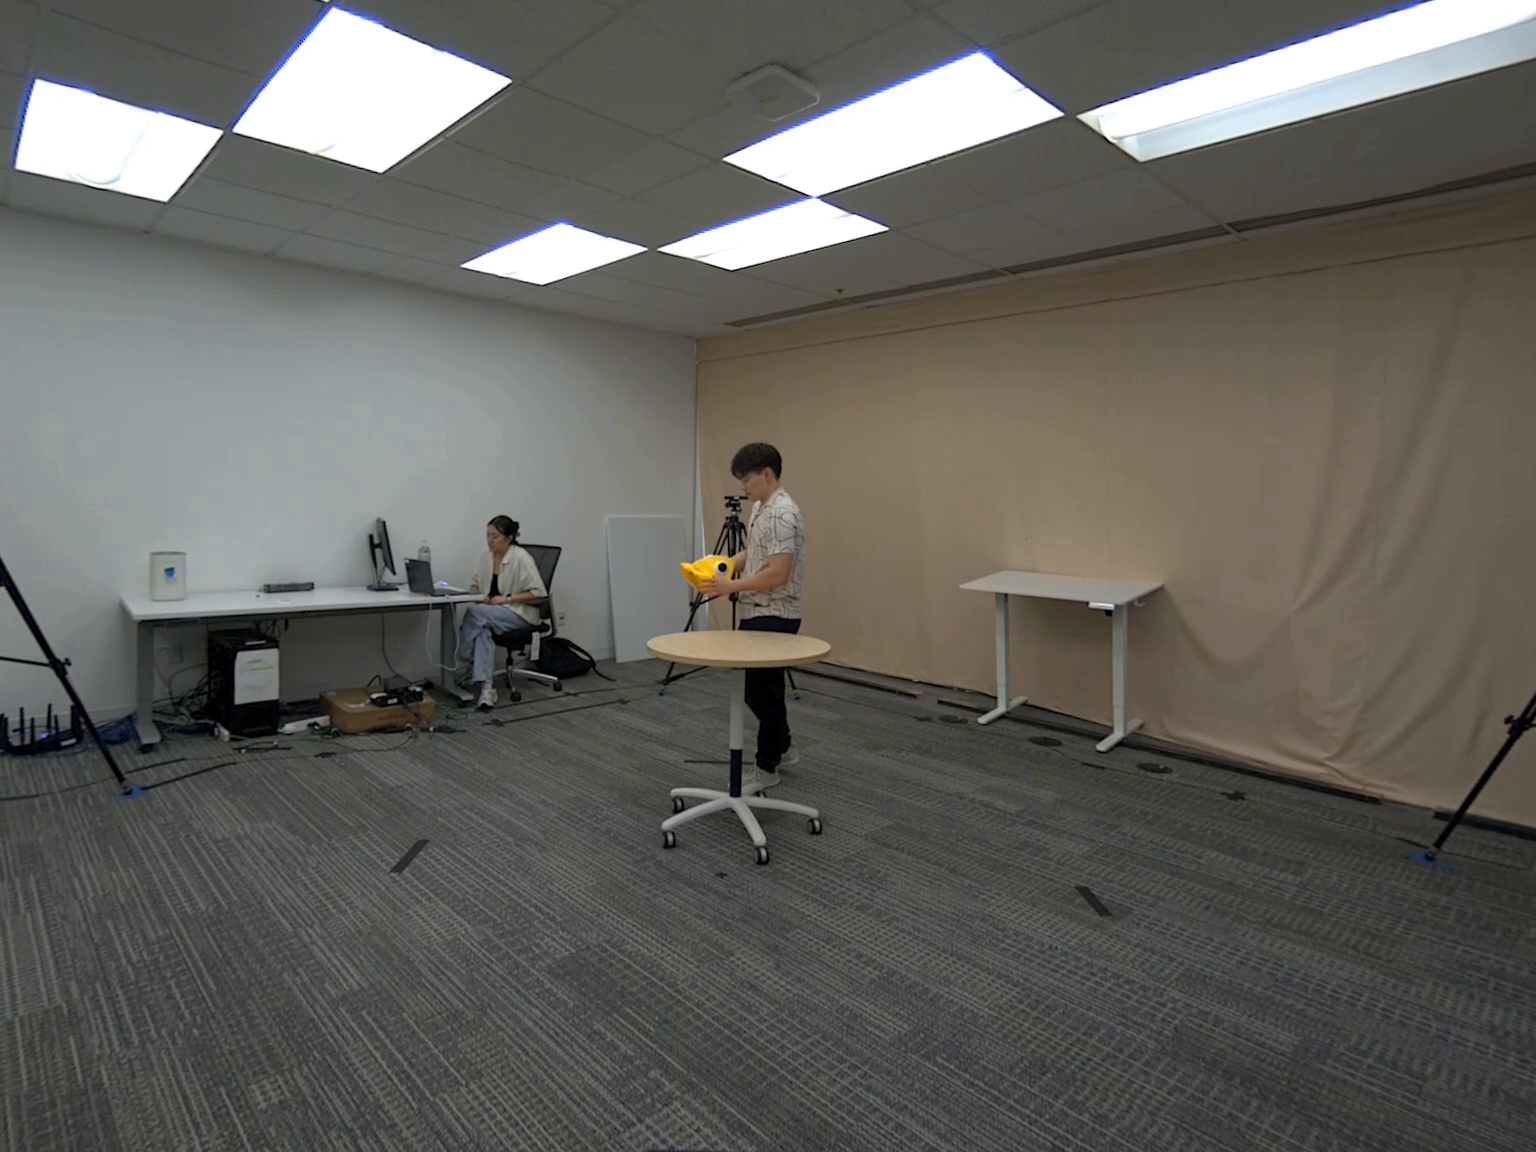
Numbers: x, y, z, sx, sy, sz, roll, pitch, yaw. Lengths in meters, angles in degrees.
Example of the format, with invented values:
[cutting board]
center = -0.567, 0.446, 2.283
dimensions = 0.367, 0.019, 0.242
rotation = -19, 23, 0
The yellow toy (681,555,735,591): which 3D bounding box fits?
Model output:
[yellow toy]
center = -0.268, -0.043, 4.014
dimensions = 0.230, 0.187, 0.211
rotation = -40, 40, -18
